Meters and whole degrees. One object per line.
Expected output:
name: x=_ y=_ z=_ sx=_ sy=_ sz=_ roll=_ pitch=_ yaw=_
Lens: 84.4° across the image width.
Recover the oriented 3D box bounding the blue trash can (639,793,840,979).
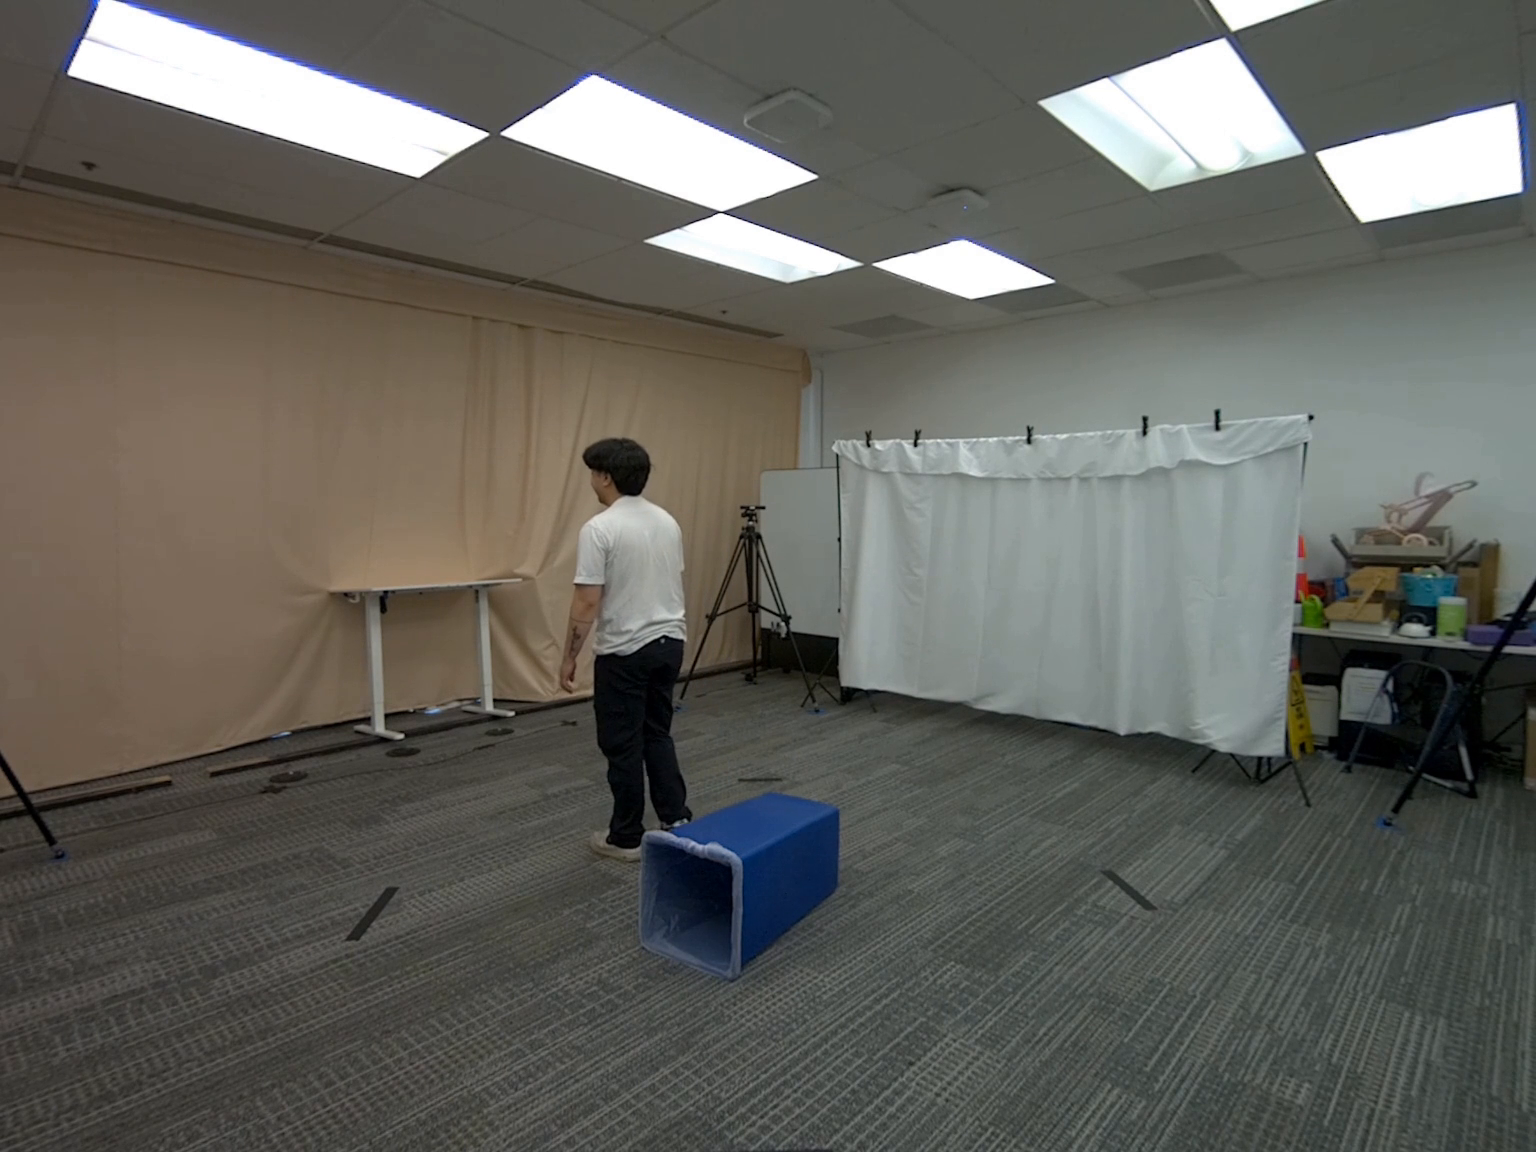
blue trash can: x=-0.054 y=0.992 z=2.840 sx=0.390 sy=0.374 sz=0.692 roll=1 pitch=1 yaw=34
